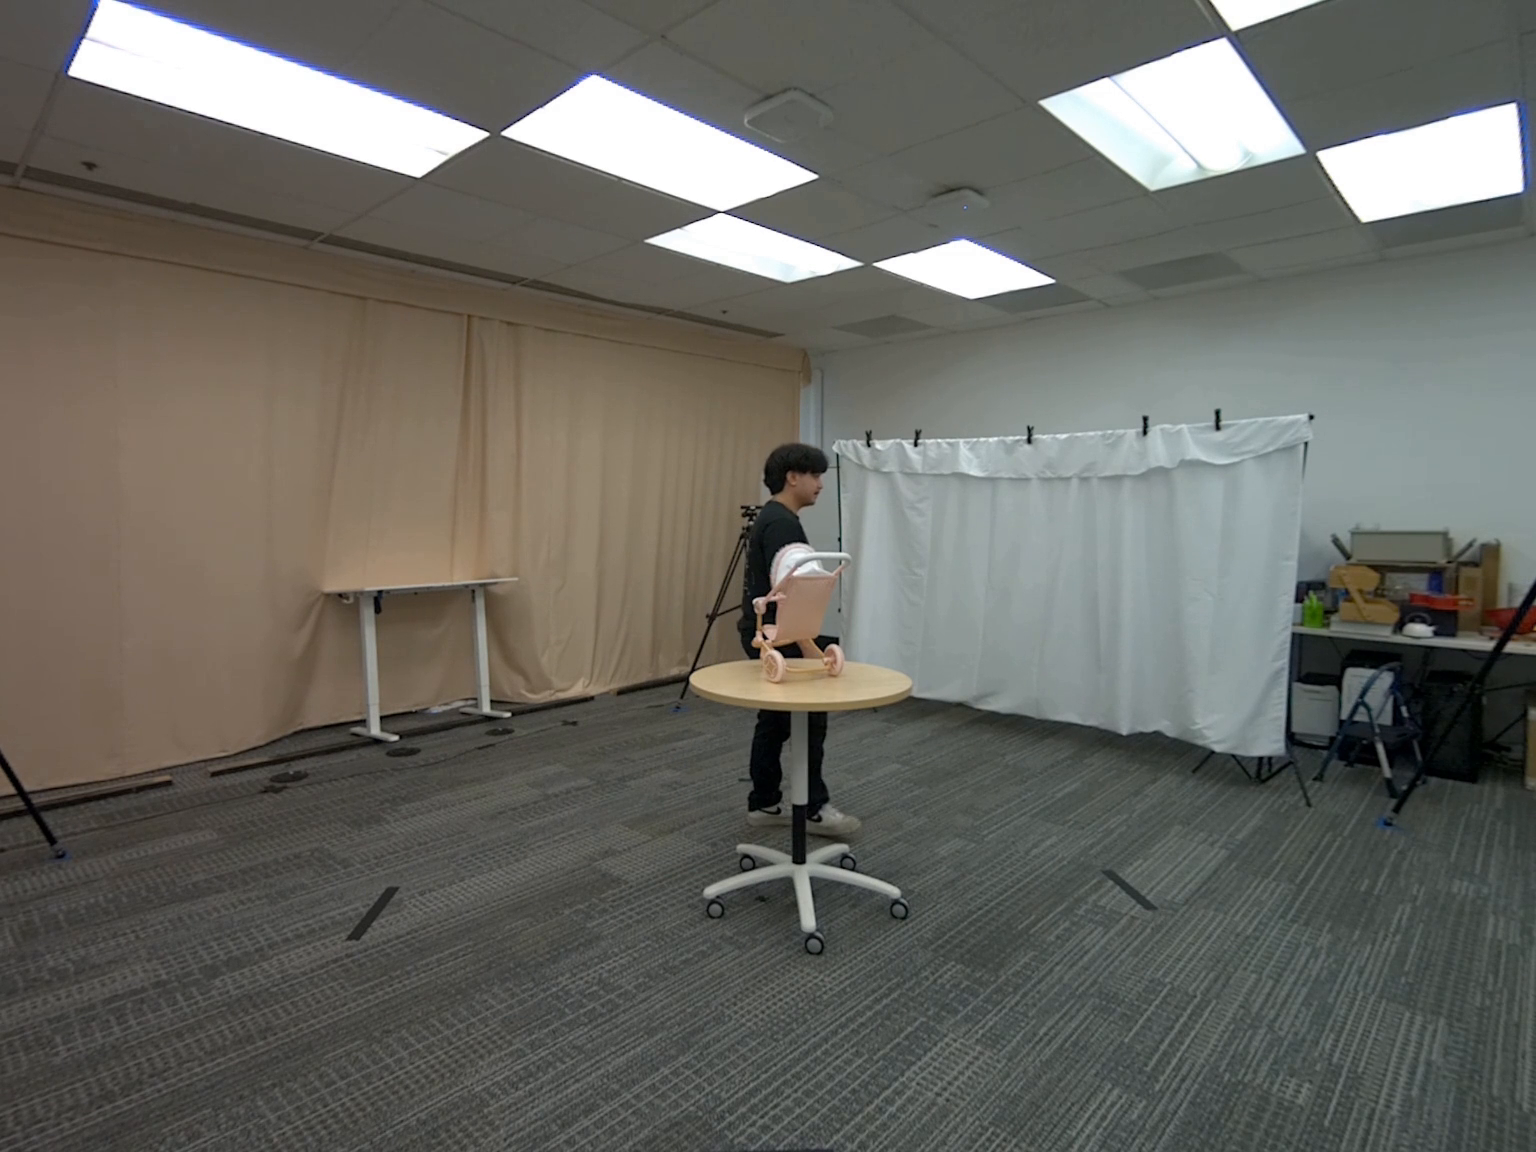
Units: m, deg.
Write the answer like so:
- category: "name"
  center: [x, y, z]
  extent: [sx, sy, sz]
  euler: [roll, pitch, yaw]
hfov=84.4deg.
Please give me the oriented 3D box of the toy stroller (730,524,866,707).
- category: "toy stroller"
  center: [0.090, 0.122, 2.956]
  extent: [0.275, 0.531, 0.352]
  euler: [-1, 18, -24]
